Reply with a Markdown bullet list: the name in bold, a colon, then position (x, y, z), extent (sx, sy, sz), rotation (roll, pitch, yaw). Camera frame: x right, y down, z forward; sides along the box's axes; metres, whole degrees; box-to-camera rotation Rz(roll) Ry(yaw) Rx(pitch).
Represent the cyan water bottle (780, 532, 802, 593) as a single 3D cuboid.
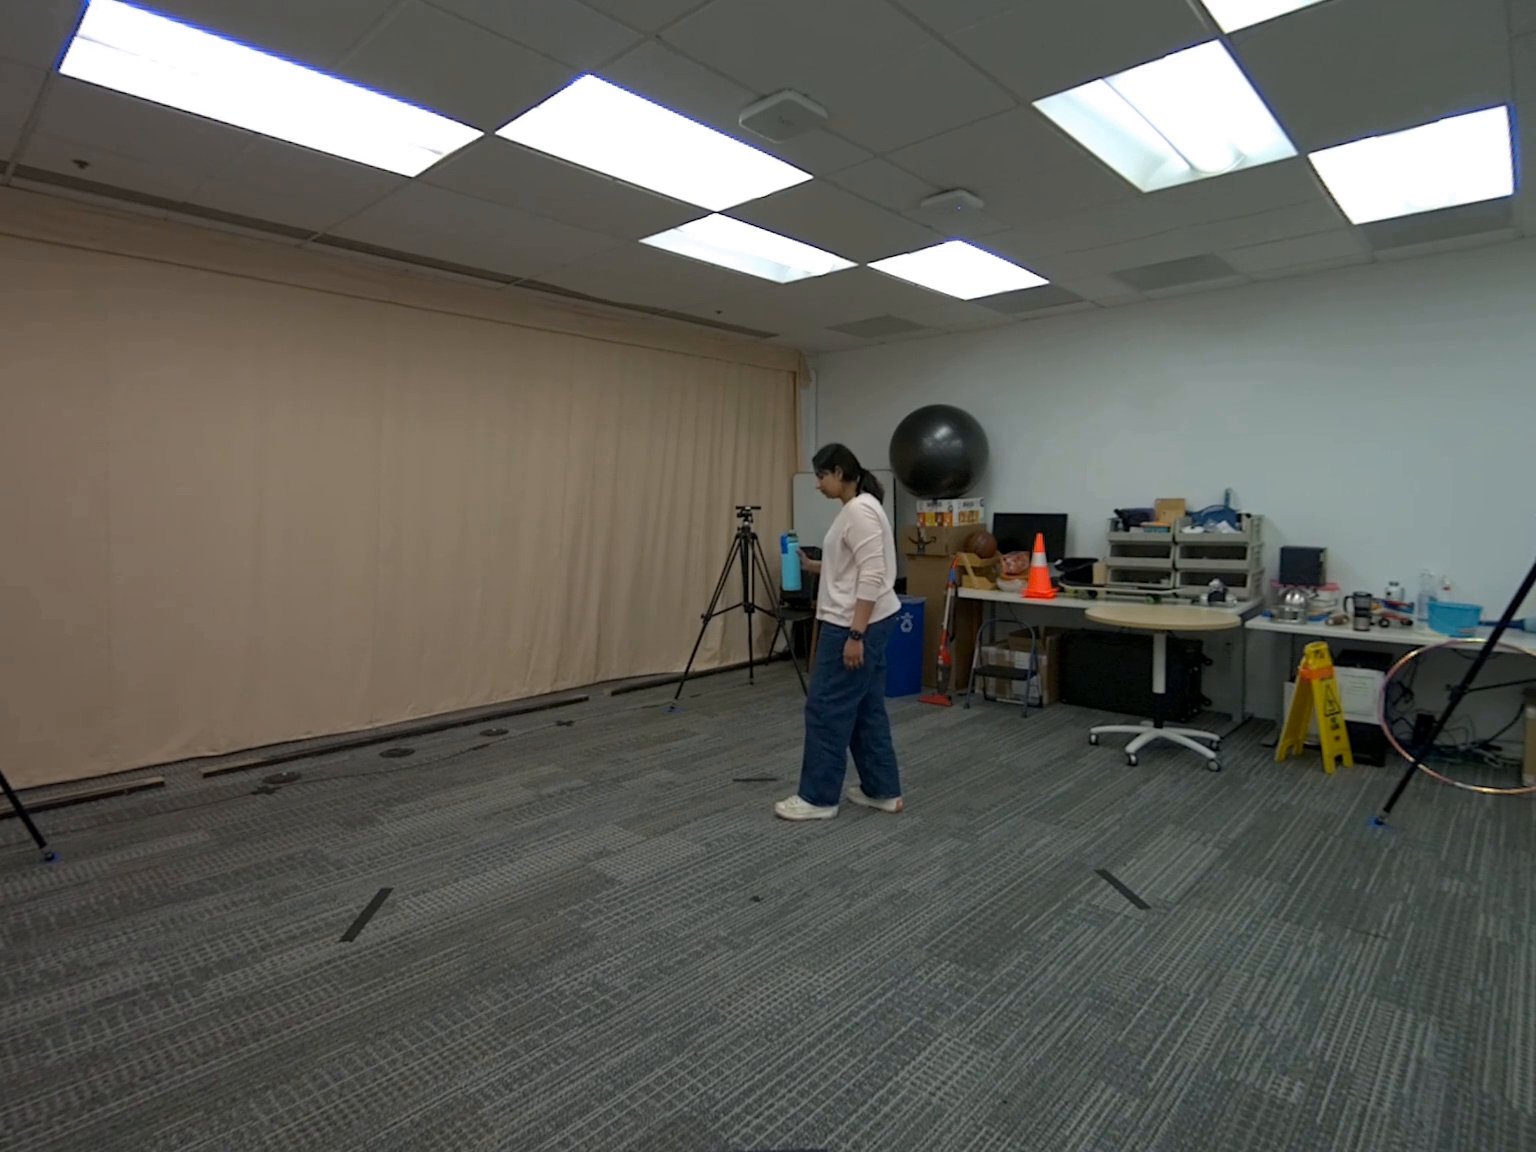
- **cyan water bottle**: position (0.113, -0.076, 4.052), extent (0.092, 0.282, 0.093), rotation (-3, 6, -1)
